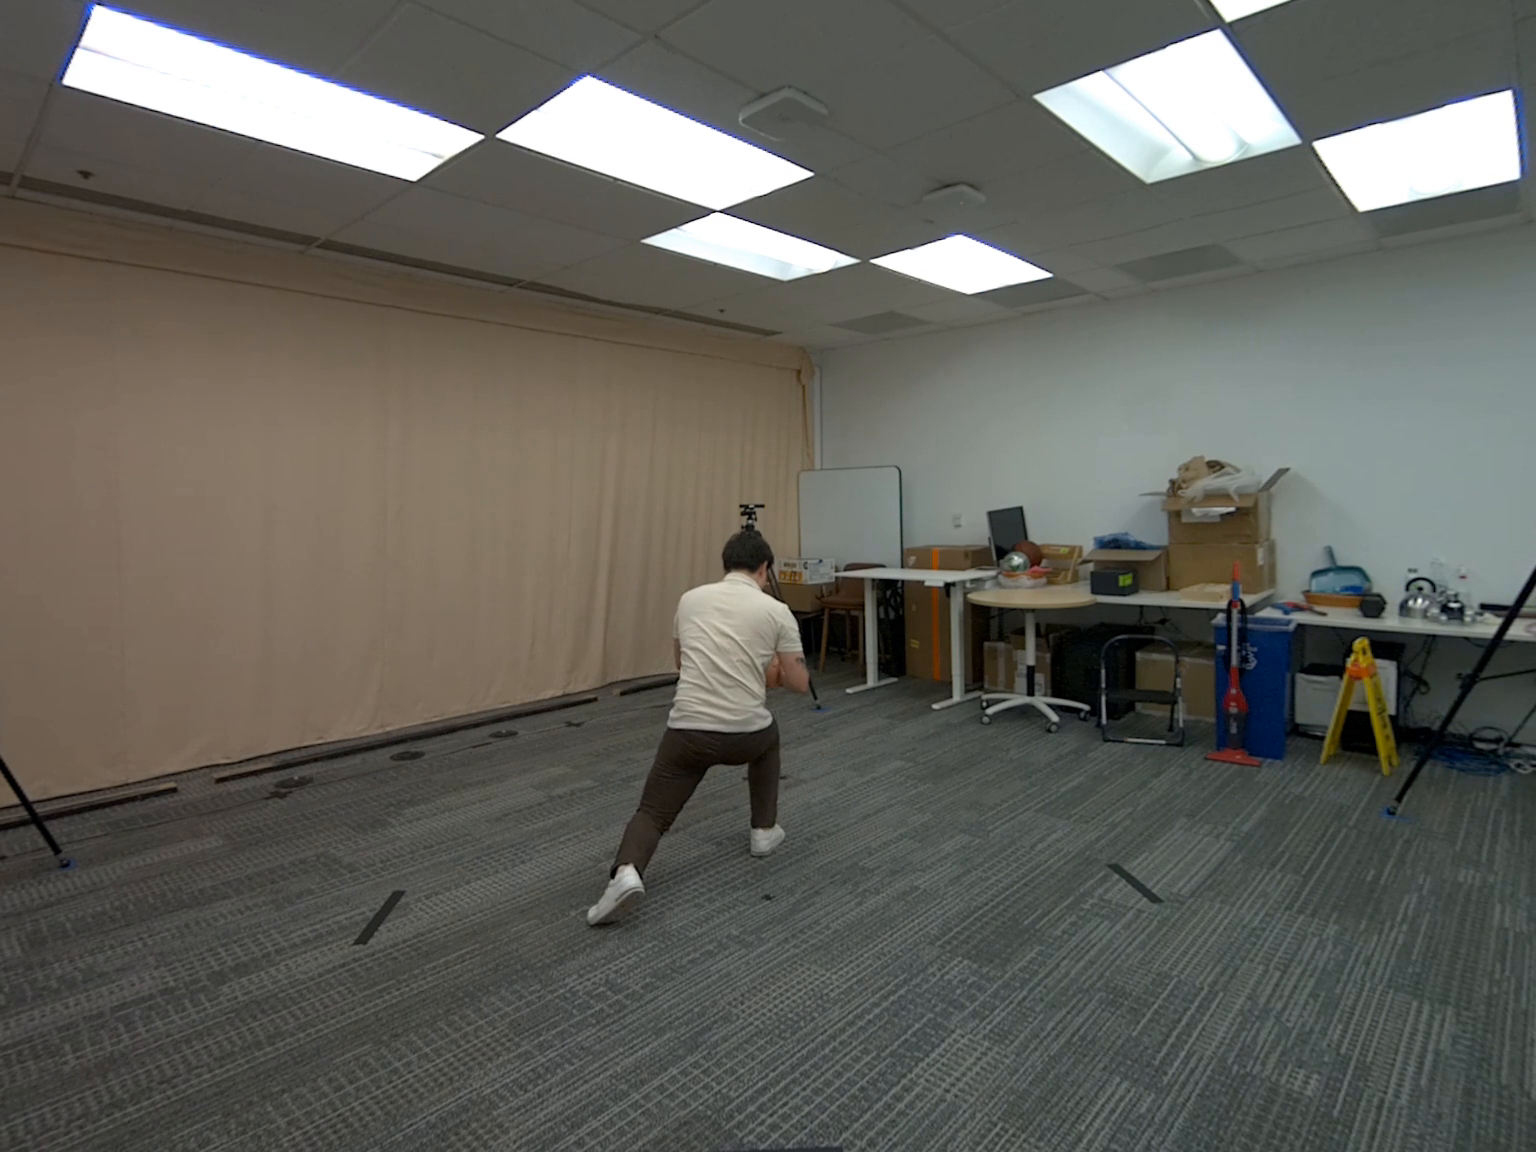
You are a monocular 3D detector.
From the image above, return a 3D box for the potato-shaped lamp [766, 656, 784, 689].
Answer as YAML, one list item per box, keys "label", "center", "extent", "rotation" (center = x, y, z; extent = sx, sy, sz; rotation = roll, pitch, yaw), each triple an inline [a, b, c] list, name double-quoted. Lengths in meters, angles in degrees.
- label: "potato-shaped lamp"
  center: [0.024, 0.367, 3.525]
  extent: [0.166, 0.199, 0.169]
  rotation: [-4, -4, -37]
